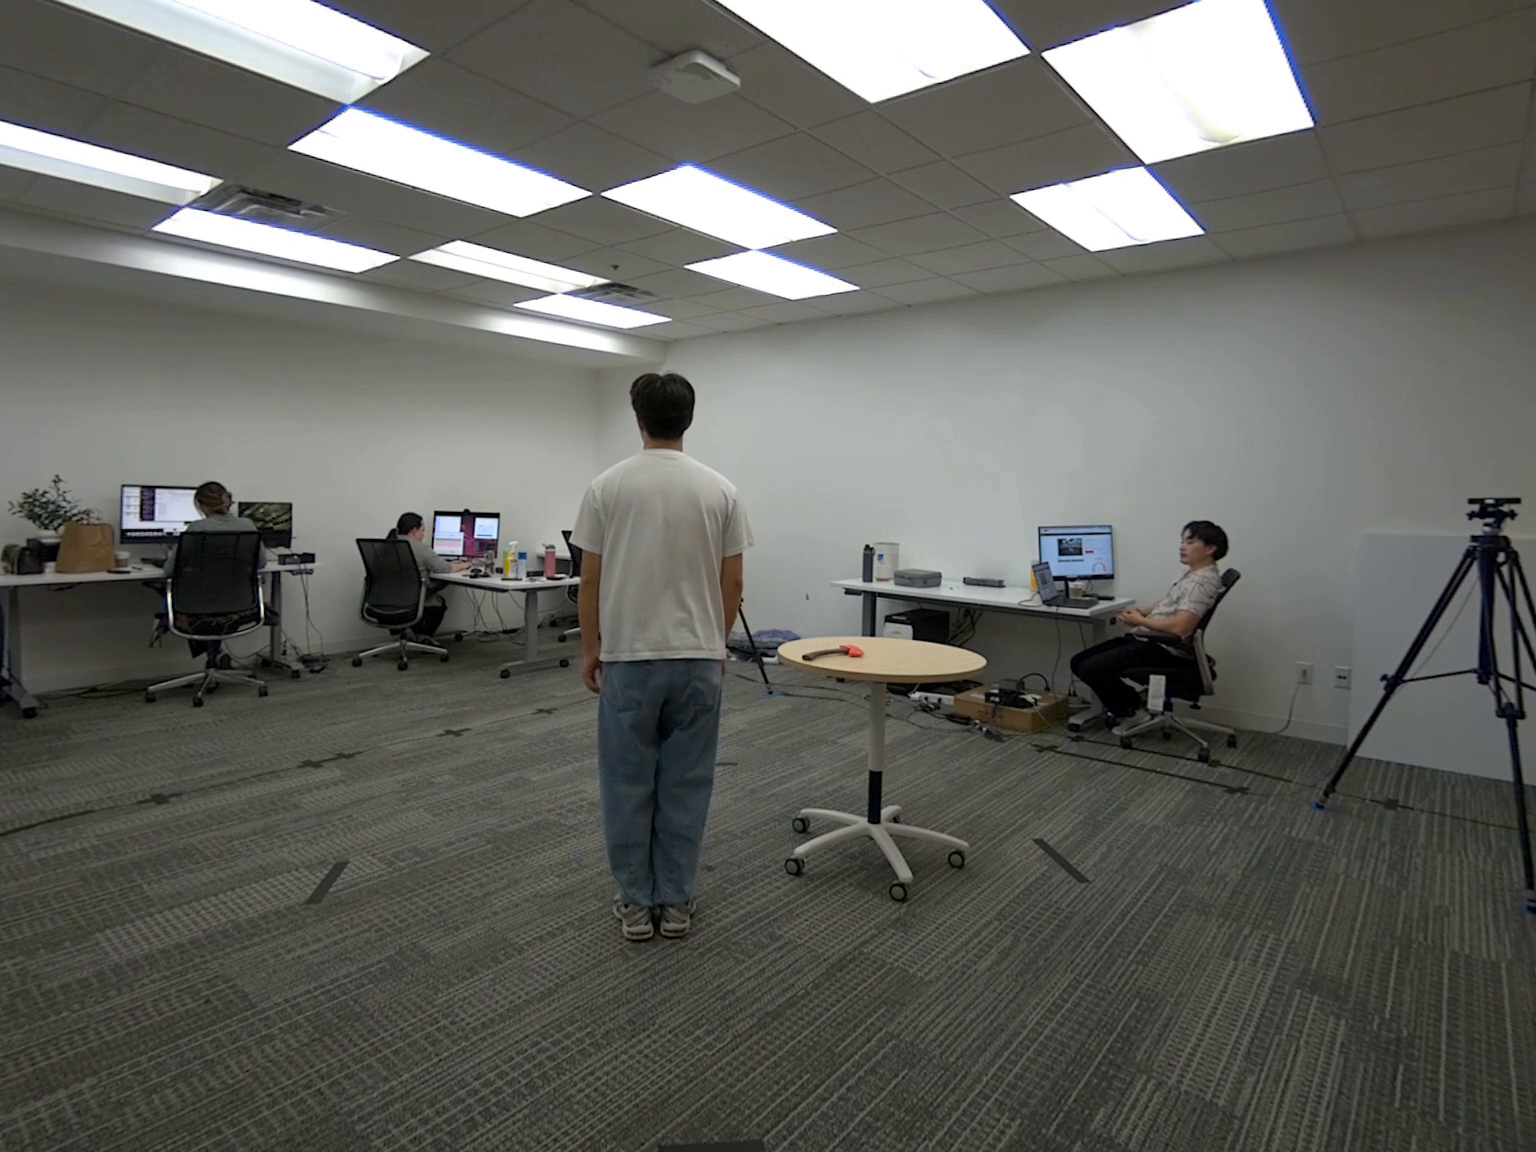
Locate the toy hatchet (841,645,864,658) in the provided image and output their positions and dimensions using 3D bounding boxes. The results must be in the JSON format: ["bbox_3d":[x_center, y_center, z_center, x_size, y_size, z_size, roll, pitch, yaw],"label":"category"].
[{"bbox_3d":[0.244,0.282,3.091,0.136,0.029,0.262,11,12,39],"label":"toy hatchet"}]
